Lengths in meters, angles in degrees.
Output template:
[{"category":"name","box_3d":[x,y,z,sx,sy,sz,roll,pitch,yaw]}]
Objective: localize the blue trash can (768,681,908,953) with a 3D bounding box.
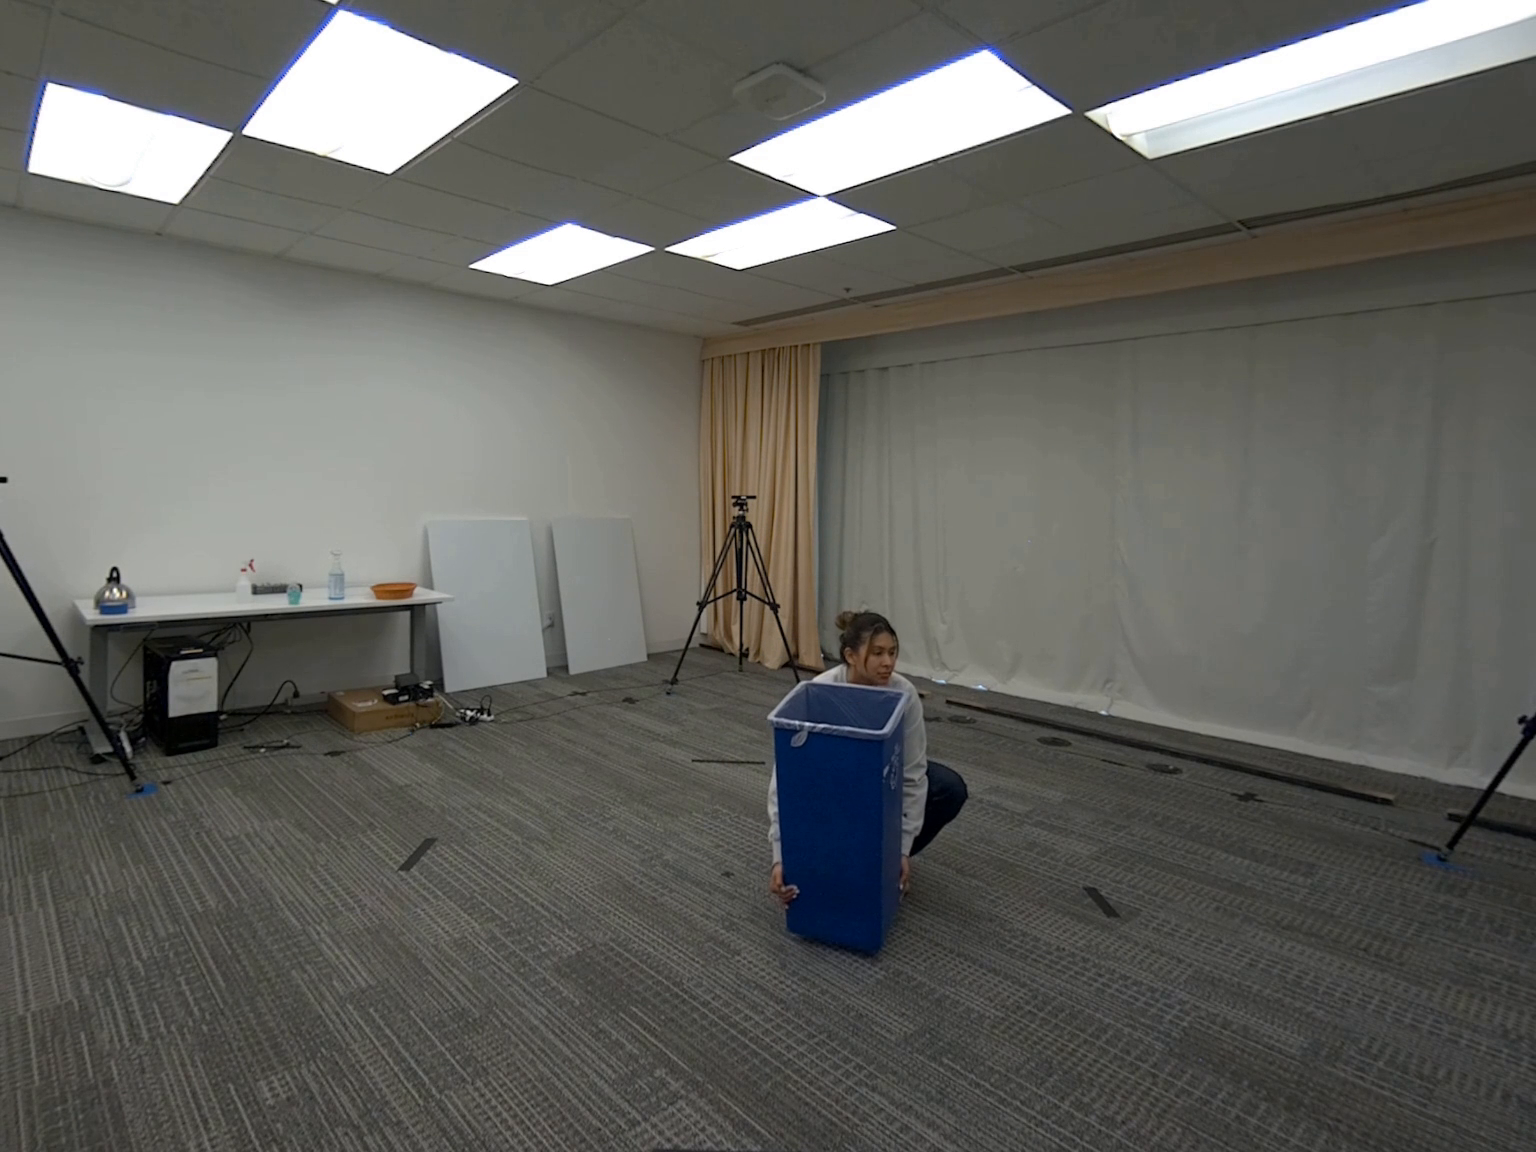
[{"category":"blue trash can","box_3d":[0.233,0.741,2.648,0.385,0.708,0.371,2,11,22]}]
